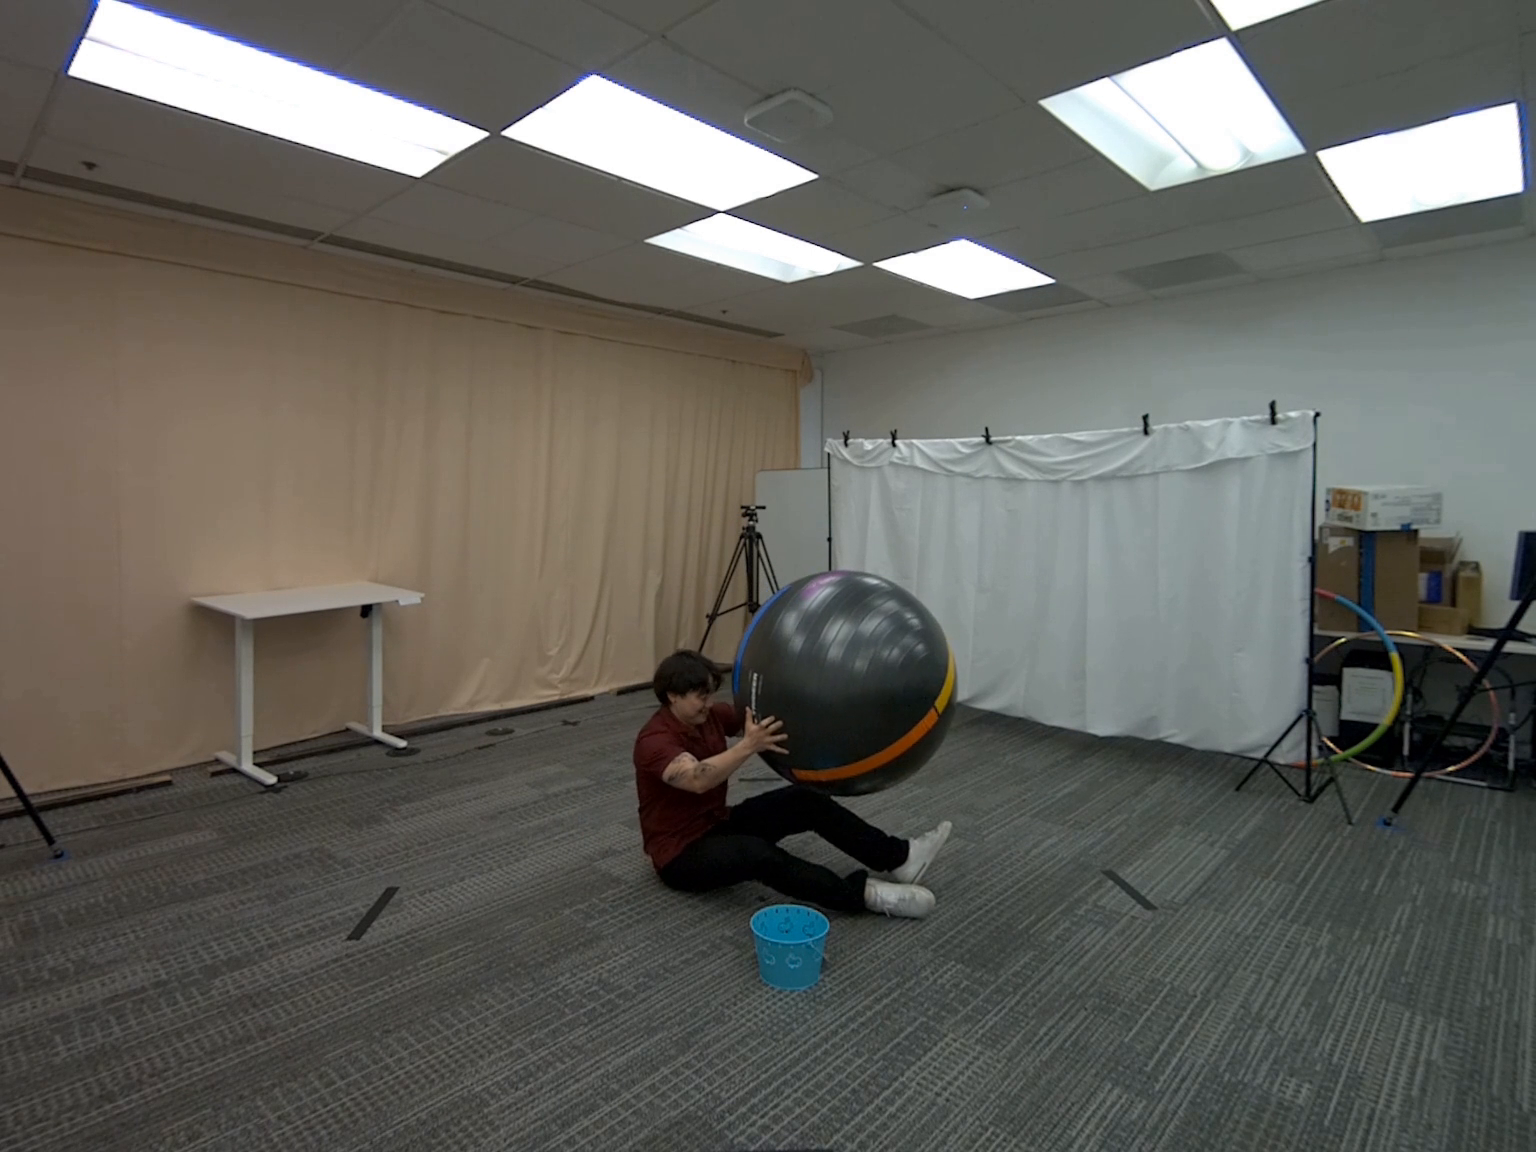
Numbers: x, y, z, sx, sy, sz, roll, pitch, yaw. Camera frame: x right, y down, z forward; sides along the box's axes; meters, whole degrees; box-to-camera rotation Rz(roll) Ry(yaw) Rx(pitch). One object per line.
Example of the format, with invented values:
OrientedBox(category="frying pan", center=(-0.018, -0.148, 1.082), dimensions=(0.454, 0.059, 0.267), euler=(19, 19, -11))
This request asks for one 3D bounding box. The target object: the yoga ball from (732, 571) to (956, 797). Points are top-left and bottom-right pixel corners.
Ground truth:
OrientedBox(category="yoga ball", center=(0.266, 0.357, 2.899), dimensions=(0.757, 0.756, 0.760), euler=(0, 4, -2))
